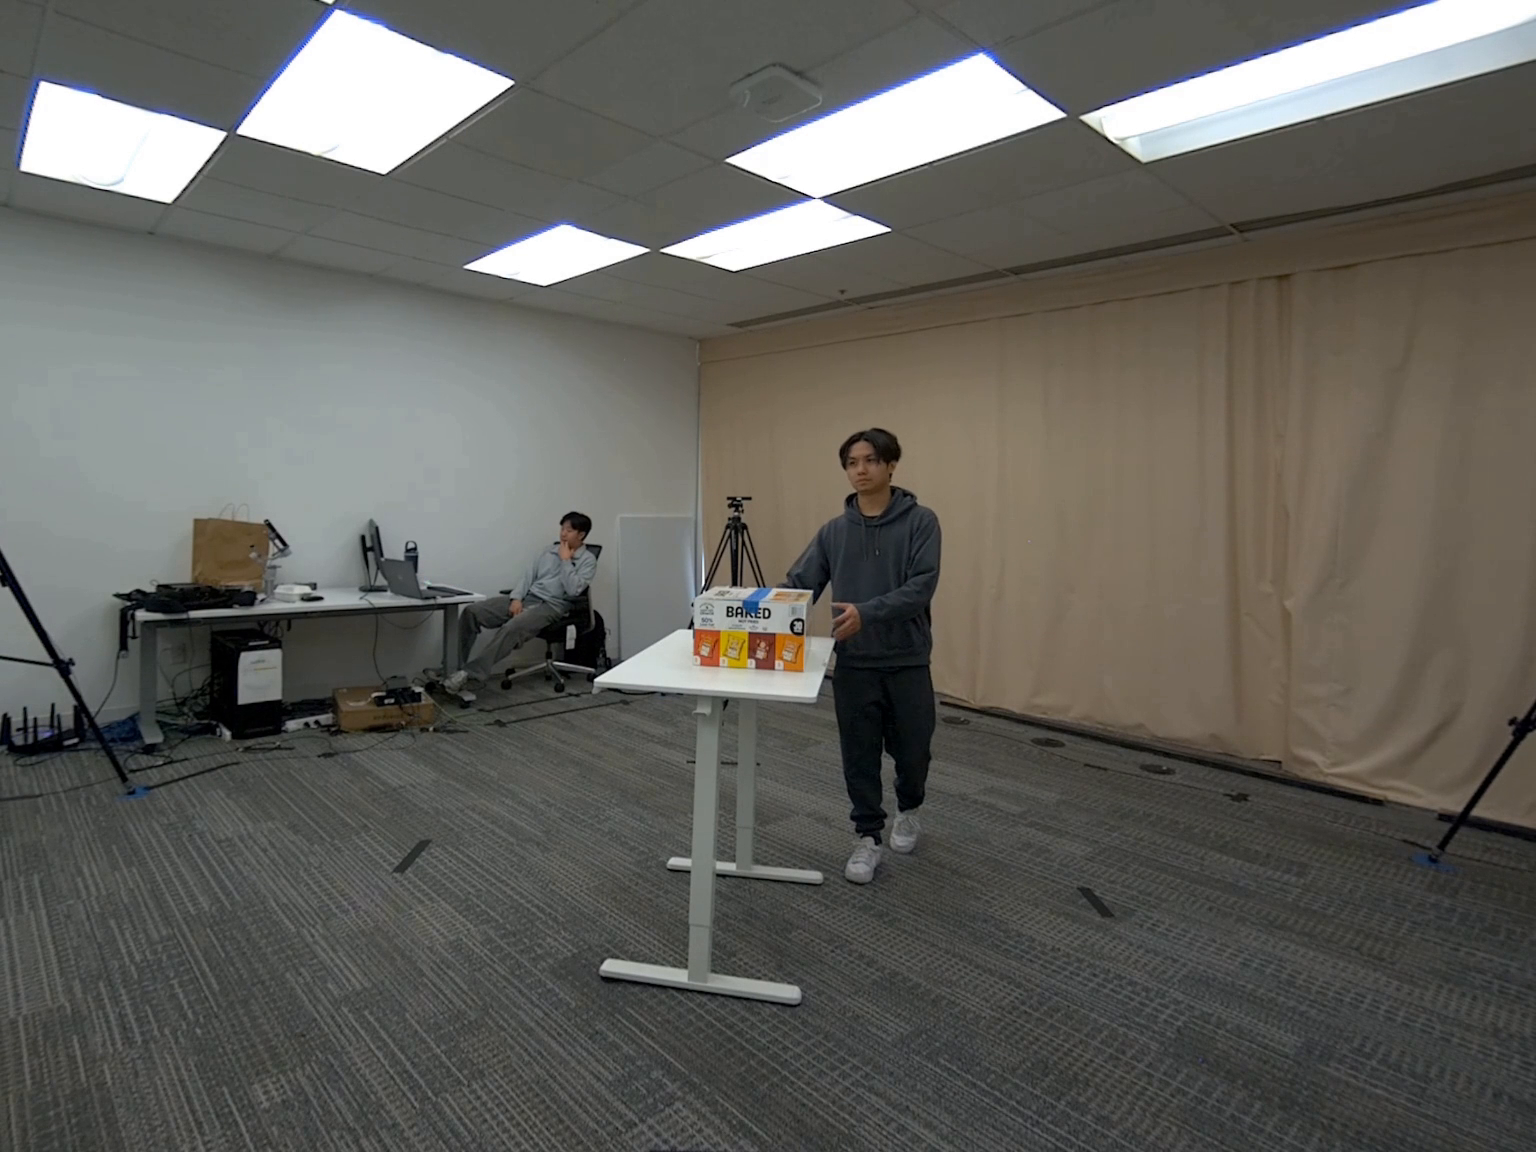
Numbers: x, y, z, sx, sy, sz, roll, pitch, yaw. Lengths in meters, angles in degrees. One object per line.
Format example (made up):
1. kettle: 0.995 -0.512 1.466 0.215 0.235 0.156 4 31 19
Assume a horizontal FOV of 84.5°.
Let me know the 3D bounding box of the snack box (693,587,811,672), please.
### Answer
1. snack box: -0.042 0.163 2.698 0.343 0.205 0.403 3 4 8
